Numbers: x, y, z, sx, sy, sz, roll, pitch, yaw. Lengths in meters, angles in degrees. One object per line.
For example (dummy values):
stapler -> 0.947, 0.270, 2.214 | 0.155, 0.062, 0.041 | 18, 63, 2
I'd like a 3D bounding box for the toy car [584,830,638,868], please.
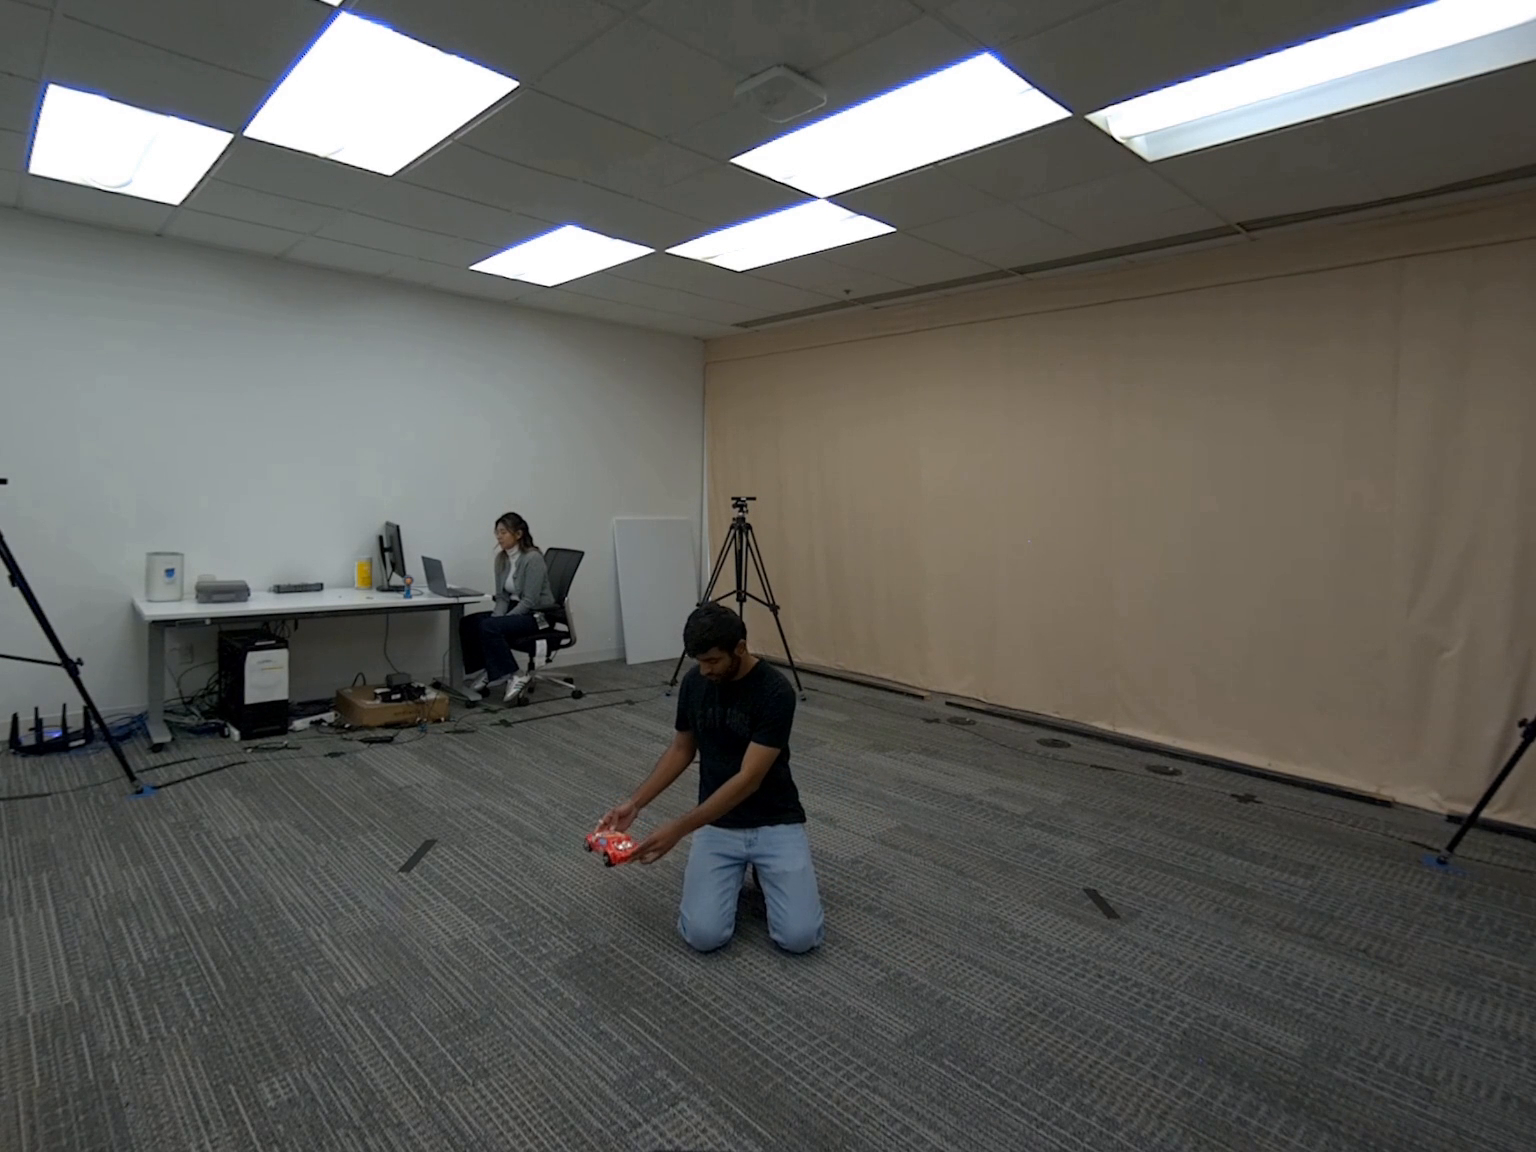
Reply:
toy car -> -0.496, 0.875, 2.704 | 0.128, 0.083, 0.259 | -6, -3, -35
